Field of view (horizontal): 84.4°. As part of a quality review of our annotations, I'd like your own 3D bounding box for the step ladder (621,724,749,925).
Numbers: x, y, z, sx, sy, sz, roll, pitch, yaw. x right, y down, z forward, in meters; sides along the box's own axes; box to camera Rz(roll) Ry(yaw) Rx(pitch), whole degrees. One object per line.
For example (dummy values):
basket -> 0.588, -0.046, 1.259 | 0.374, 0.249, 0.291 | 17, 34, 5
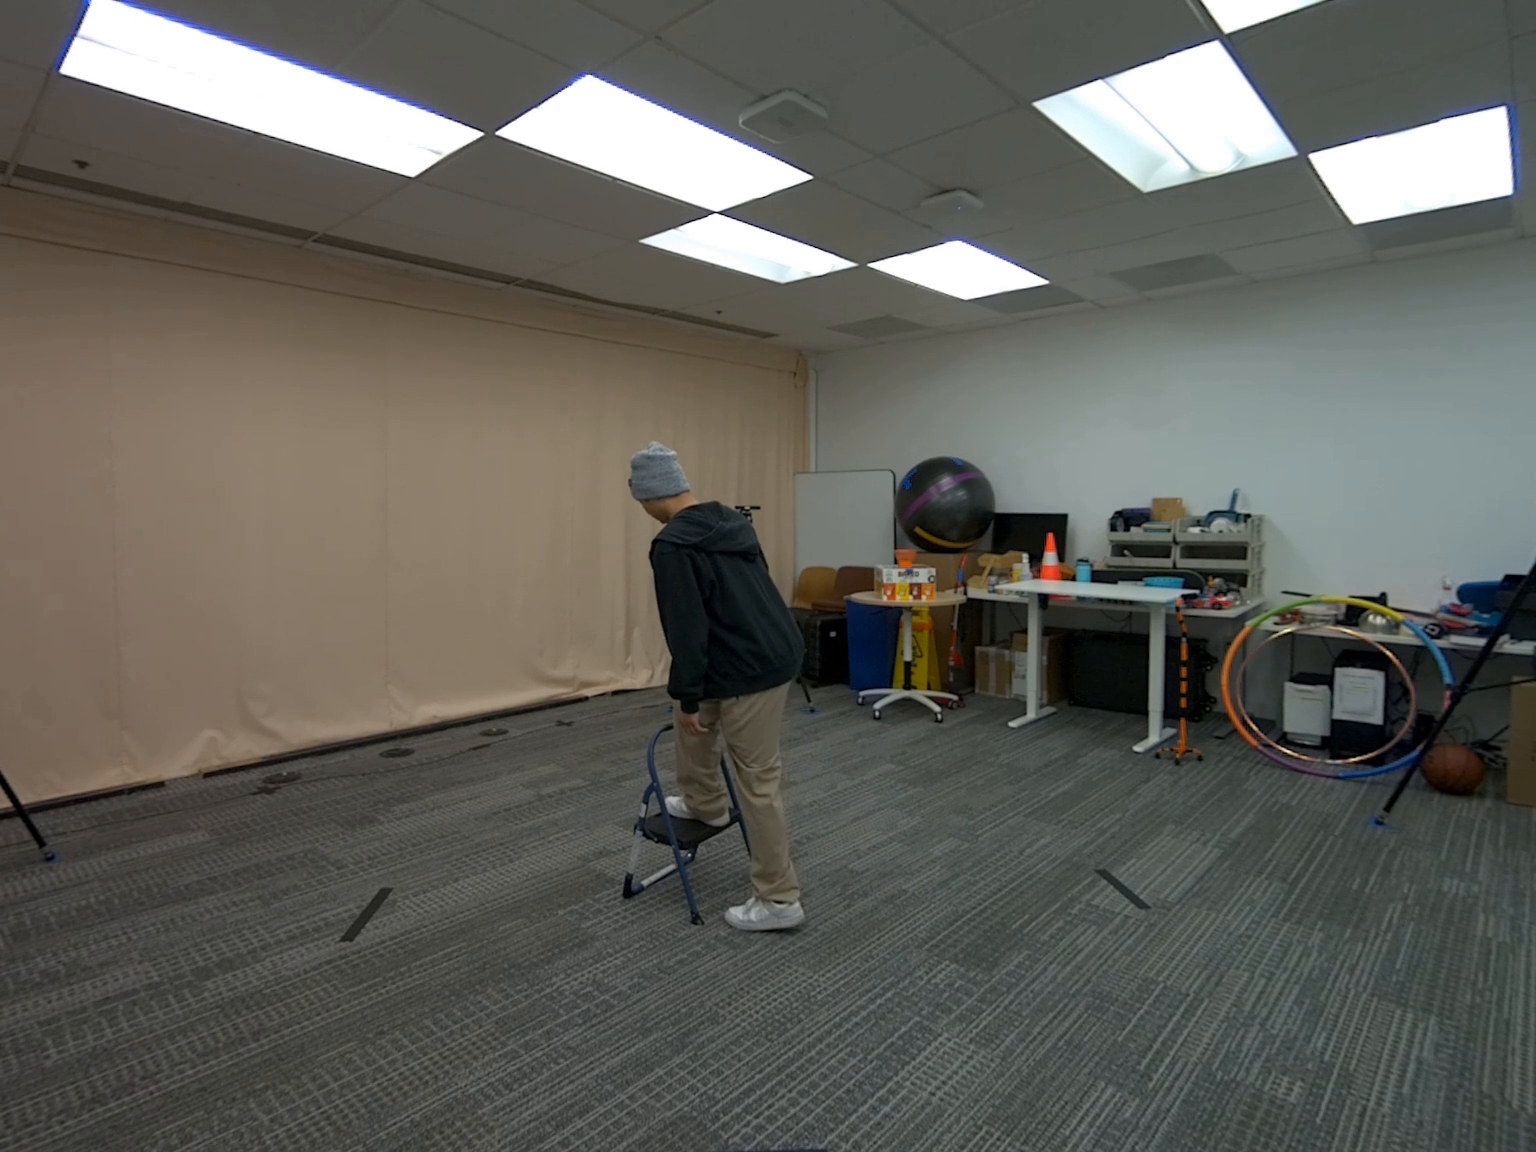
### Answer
step ladder -> -0.269, 0.839, 3.055 | 0.360, 0.605, 0.419 | 2, 4, 32
